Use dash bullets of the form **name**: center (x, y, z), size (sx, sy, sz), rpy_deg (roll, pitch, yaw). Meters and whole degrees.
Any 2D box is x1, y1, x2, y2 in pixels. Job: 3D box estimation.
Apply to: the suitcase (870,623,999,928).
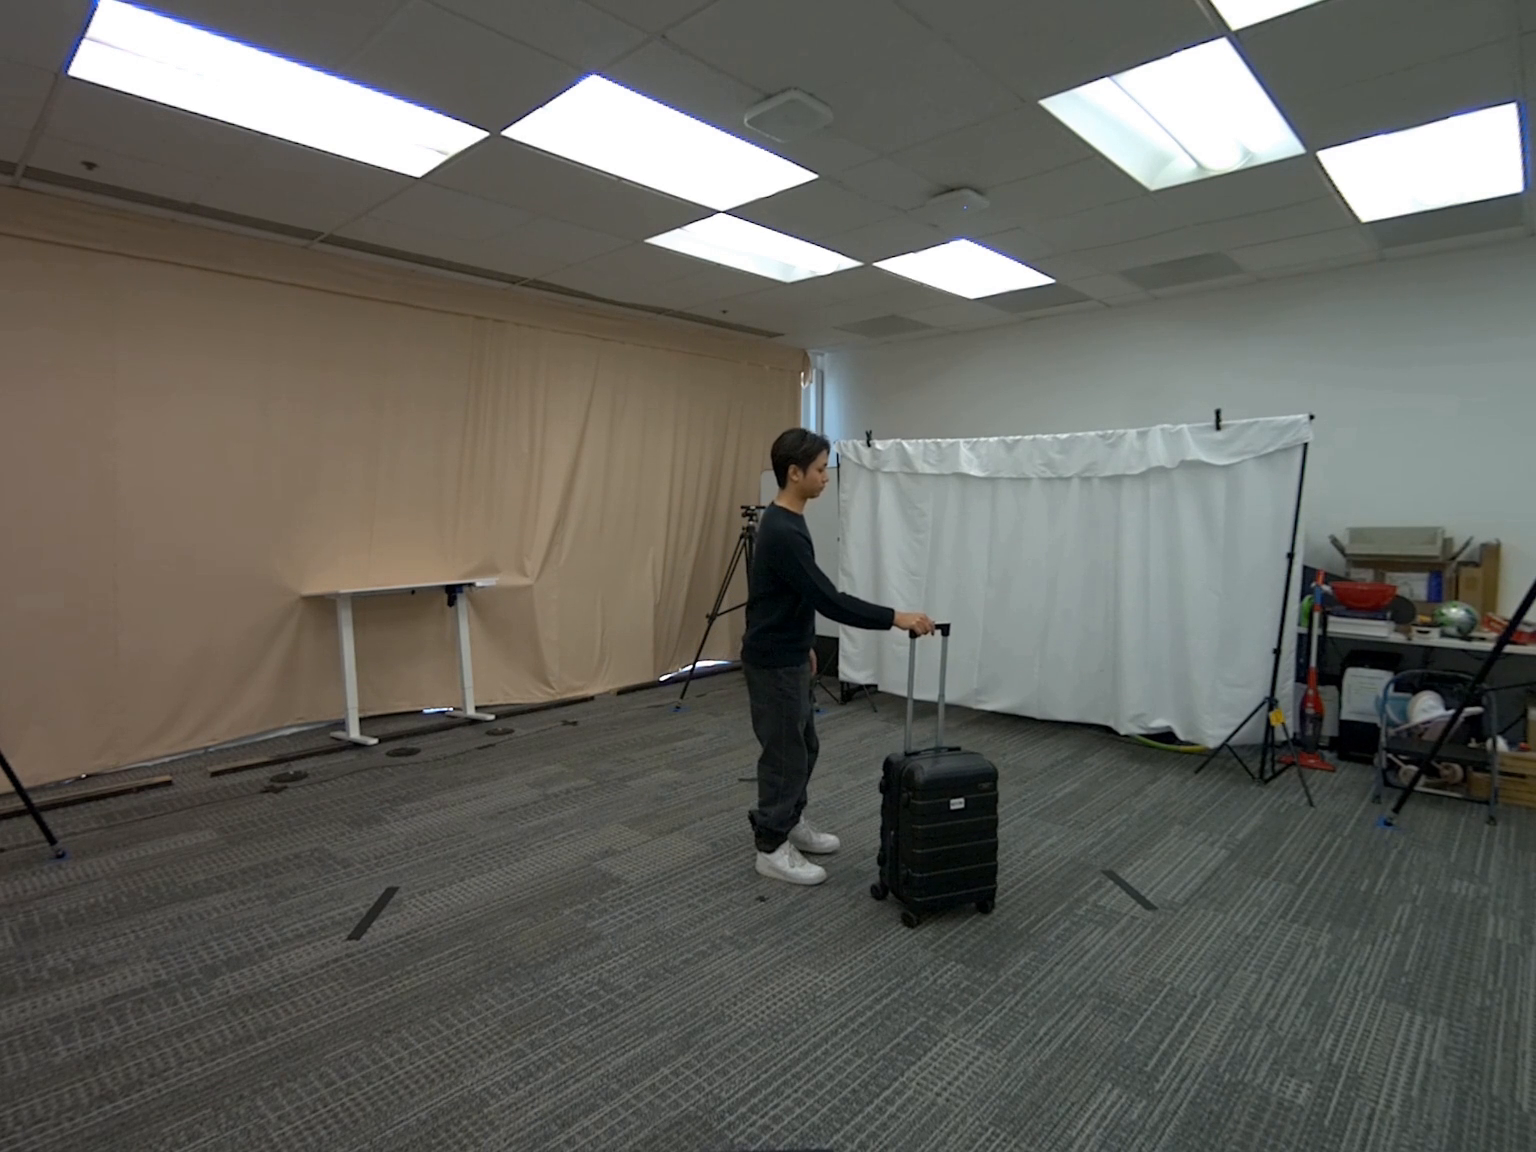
- **suitcase**: center (0.602, 0.678, 2.881), size (0.378, 0.975, 0.262), rpy_deg (0, 5, -16)
